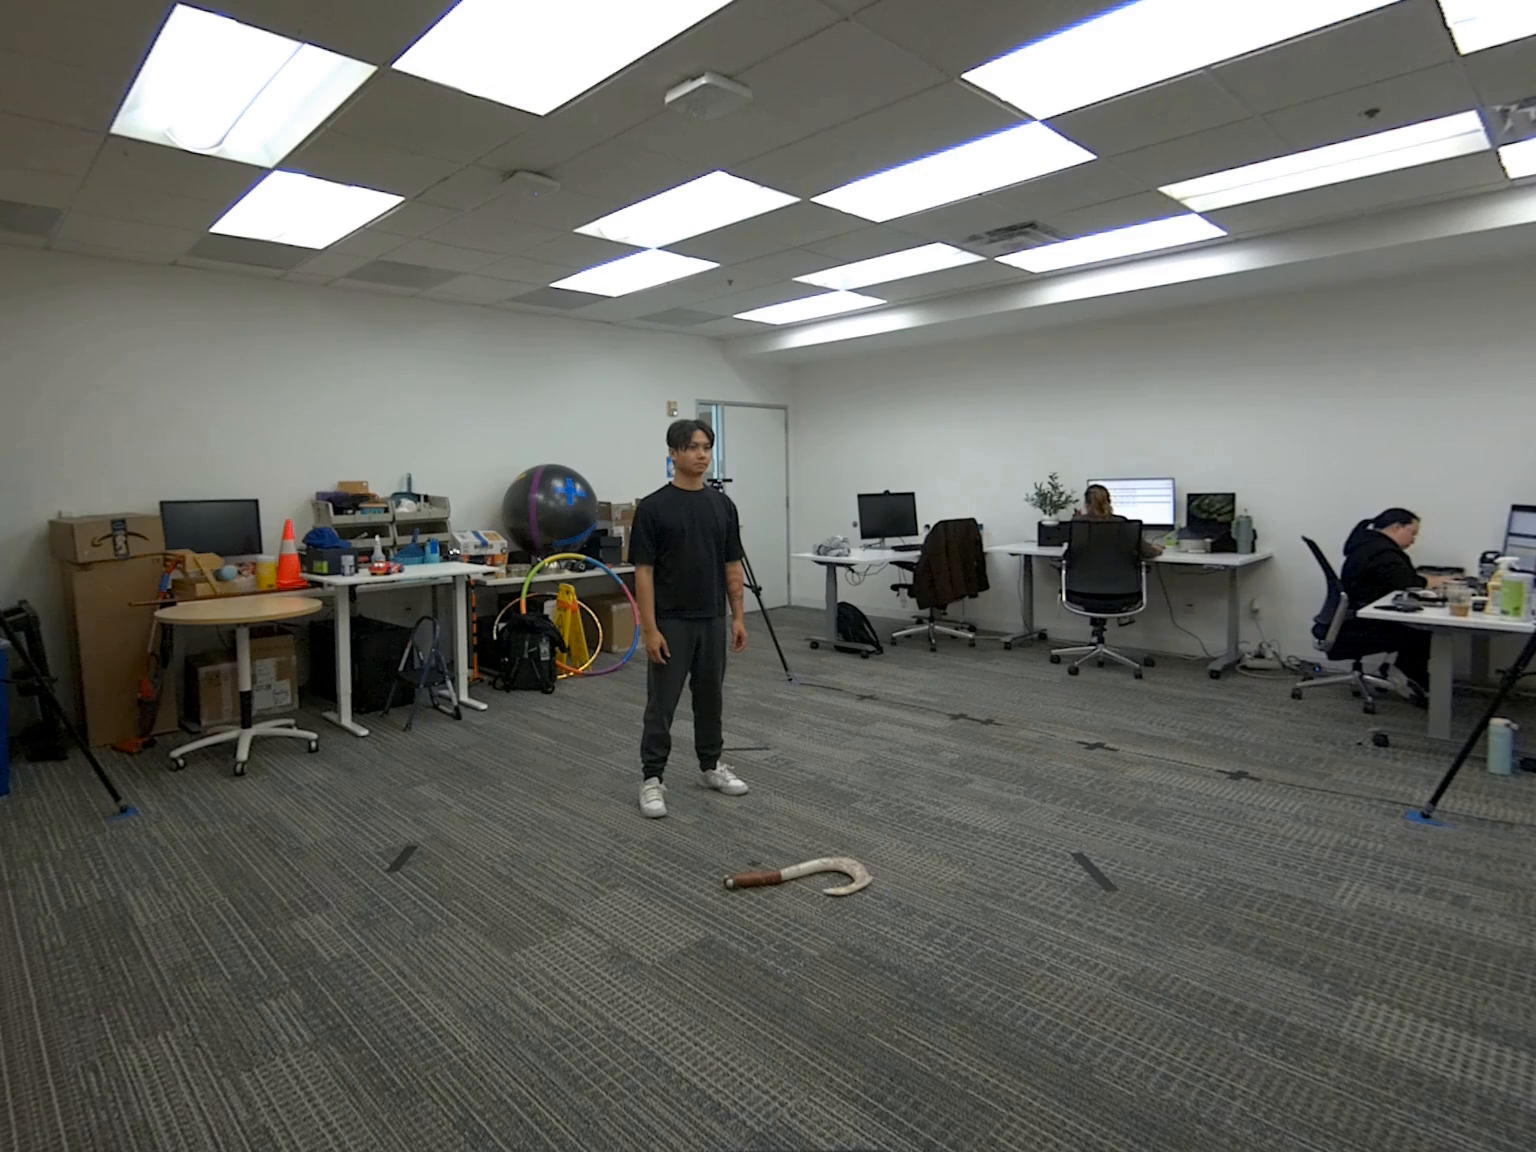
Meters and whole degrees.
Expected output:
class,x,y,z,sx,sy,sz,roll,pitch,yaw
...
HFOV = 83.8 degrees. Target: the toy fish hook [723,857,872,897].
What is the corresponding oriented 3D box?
class,x,y,z,sx,sy,sz,roll,pitch,yaw
toy fish hook,0.109,1.040,2.922,0.500,0.048,0.228,-3,5,-15
